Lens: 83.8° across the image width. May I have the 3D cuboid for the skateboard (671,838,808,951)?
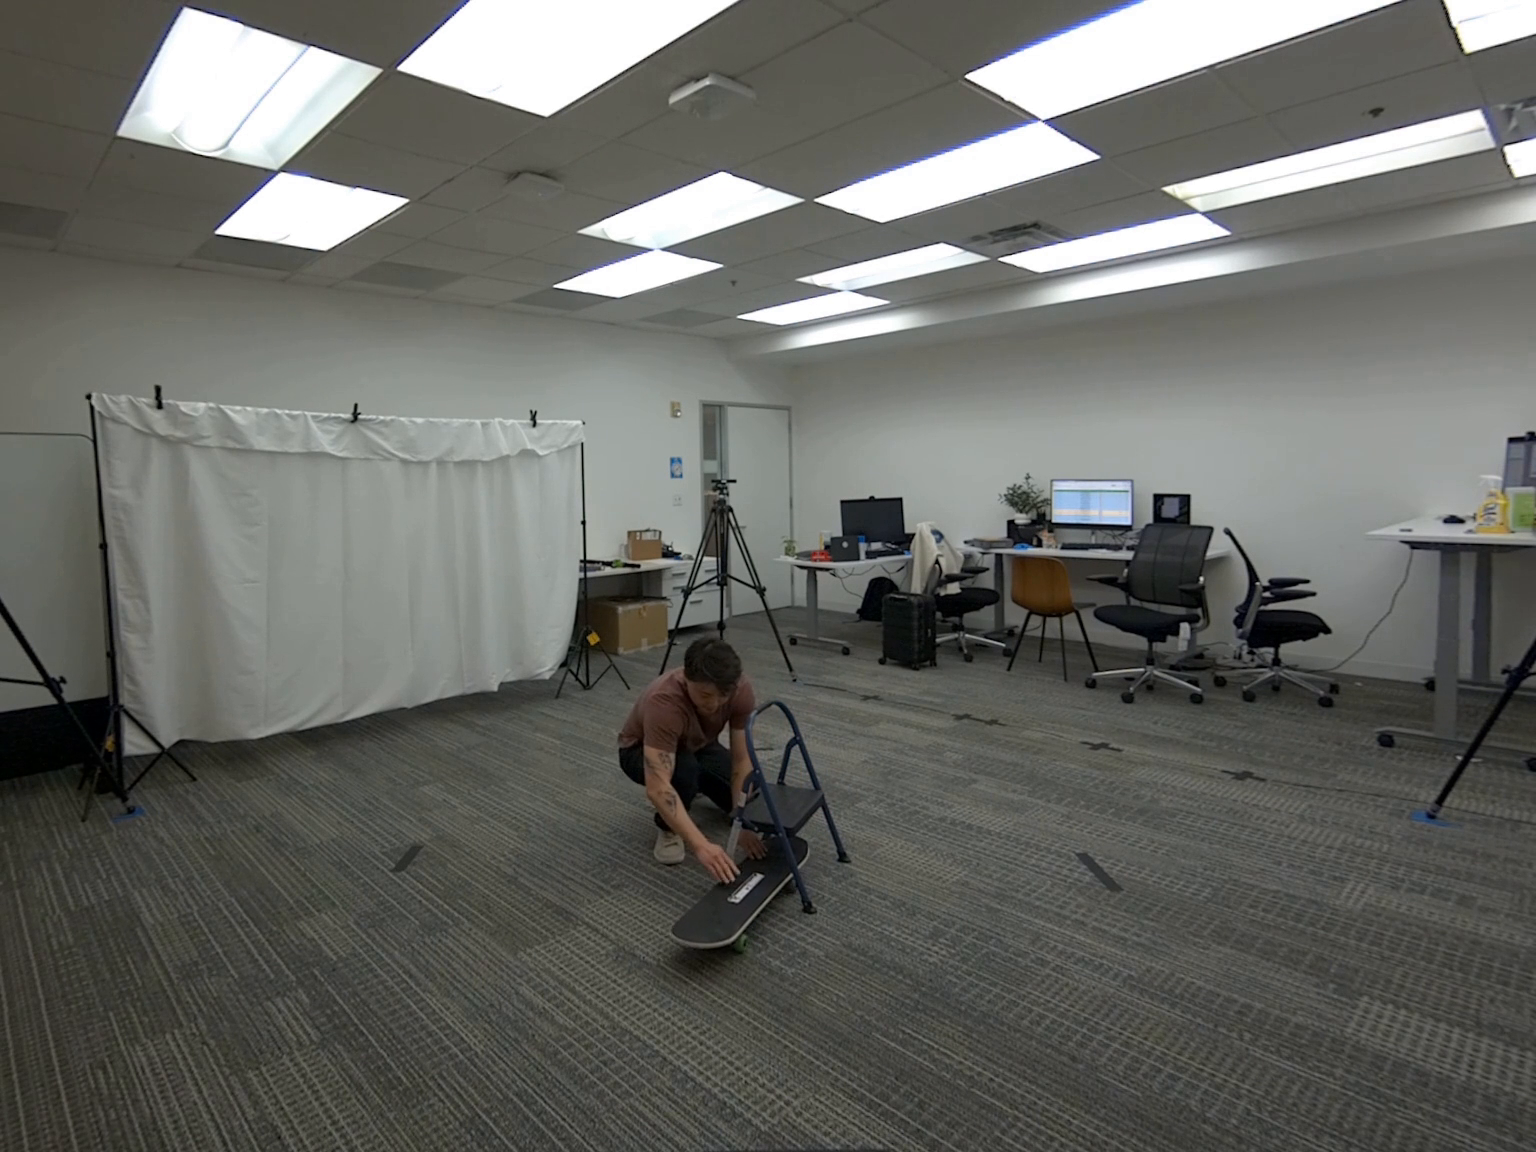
[{"bbox_3d":[-0.068,1.031,2.744,0.198,0.110,0.772,0,7,23],"label":"skateboard"}]
